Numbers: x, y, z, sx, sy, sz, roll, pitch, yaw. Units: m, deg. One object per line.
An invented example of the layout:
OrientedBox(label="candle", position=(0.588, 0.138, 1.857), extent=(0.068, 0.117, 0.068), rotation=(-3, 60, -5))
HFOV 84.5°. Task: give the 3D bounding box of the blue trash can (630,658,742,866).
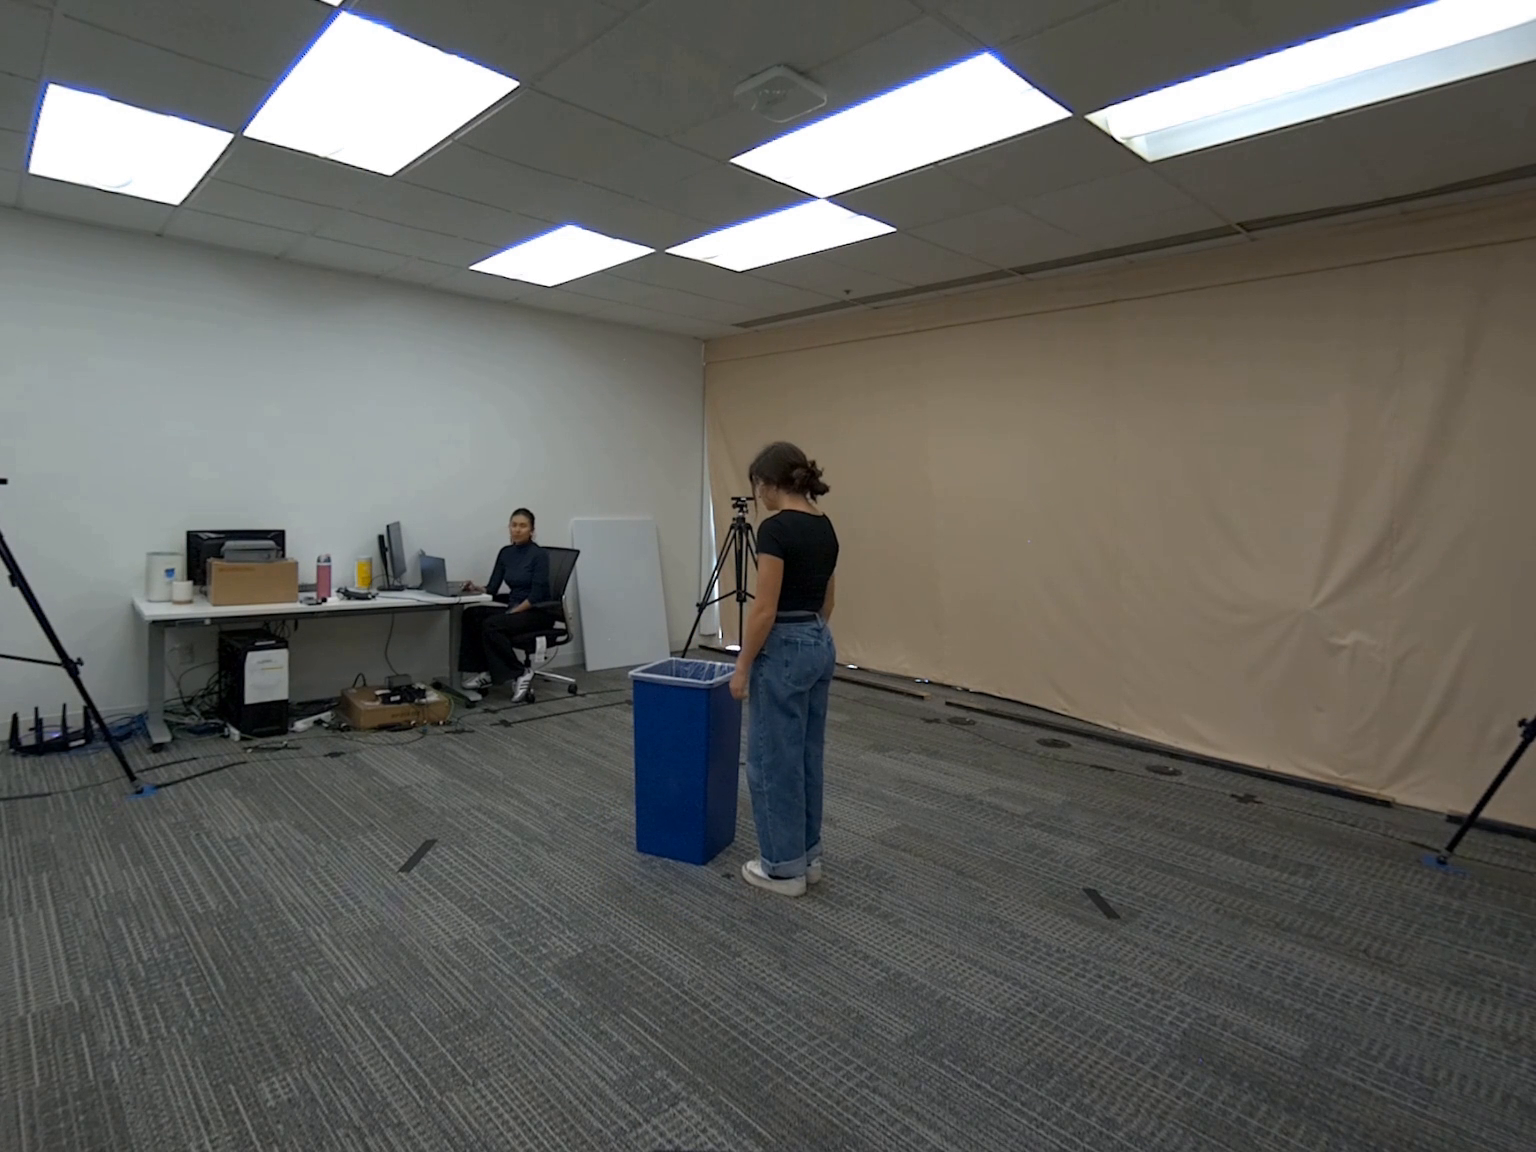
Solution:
OrientedBox(label="blue trash can", position=(-0.327, 0.721, 3.352), extent=(0.385, 0.712, 0.368), rotation=(3, 3, 24))
